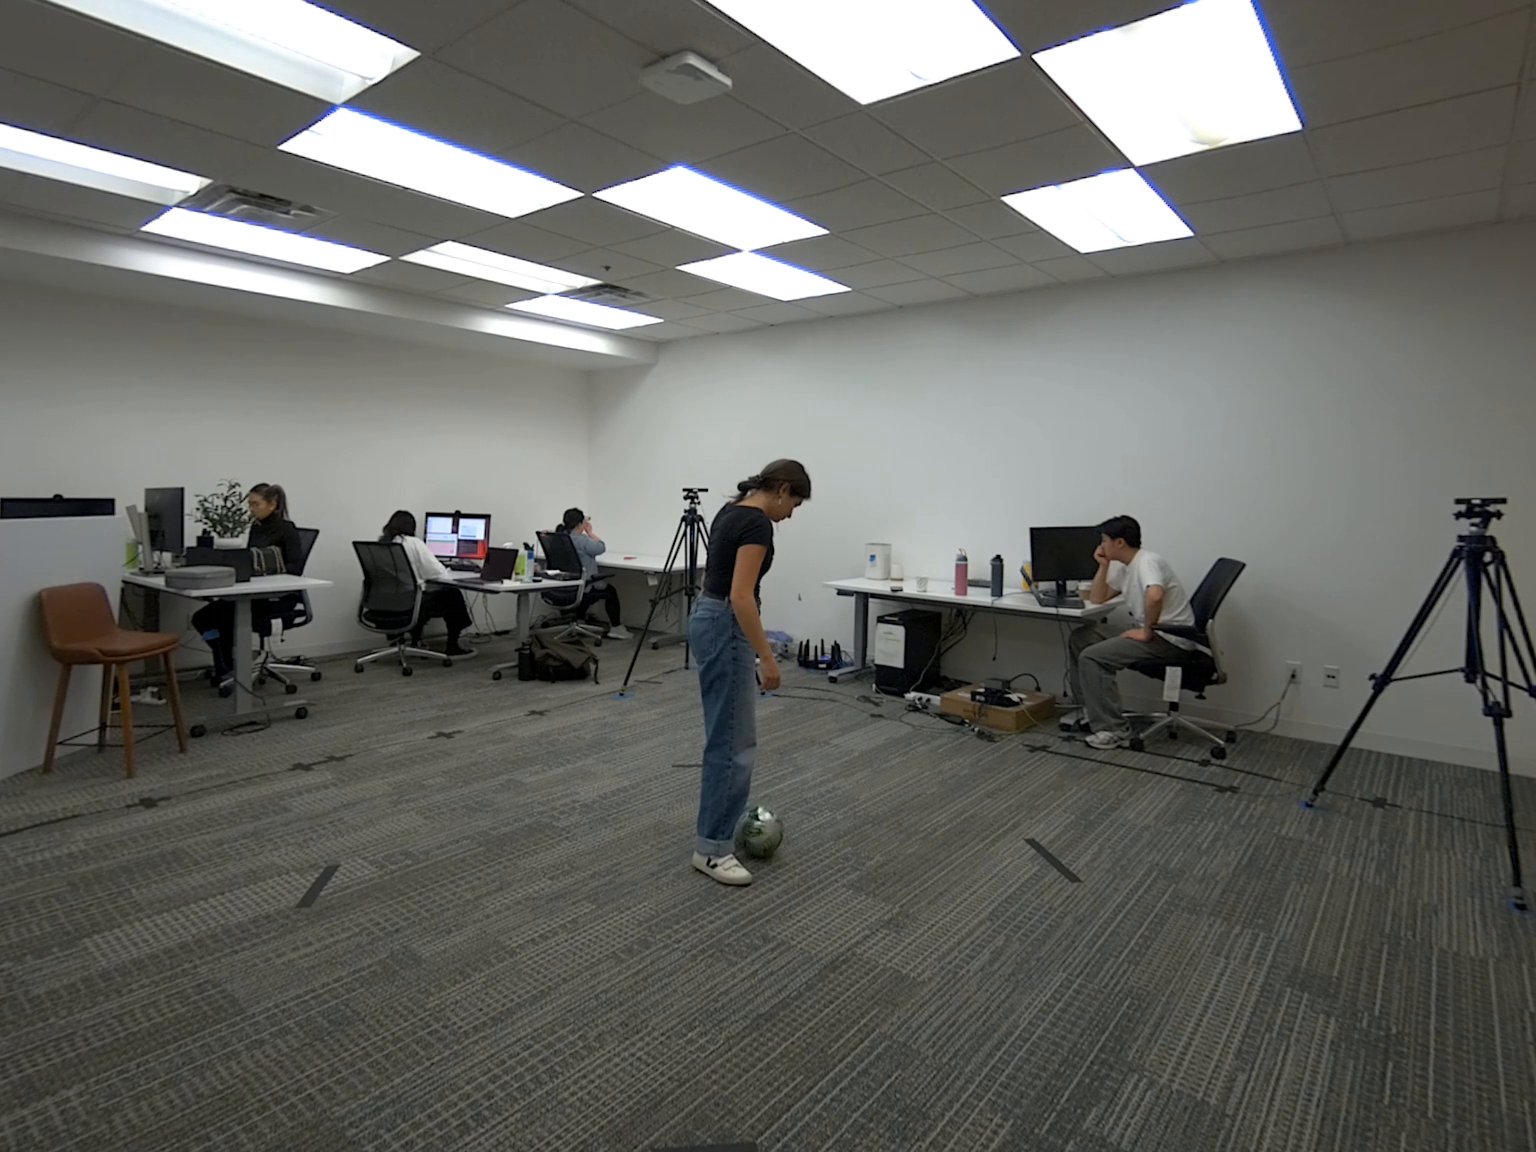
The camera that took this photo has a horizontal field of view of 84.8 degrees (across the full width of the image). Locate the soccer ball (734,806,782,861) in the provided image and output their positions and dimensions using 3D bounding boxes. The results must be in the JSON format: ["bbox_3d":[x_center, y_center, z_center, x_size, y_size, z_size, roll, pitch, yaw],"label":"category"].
[{"bbox_3d":[-0.031,0.965,3.246,0.187,0.187,0.188,1,4,-2],"label":"soccer ball"}]
